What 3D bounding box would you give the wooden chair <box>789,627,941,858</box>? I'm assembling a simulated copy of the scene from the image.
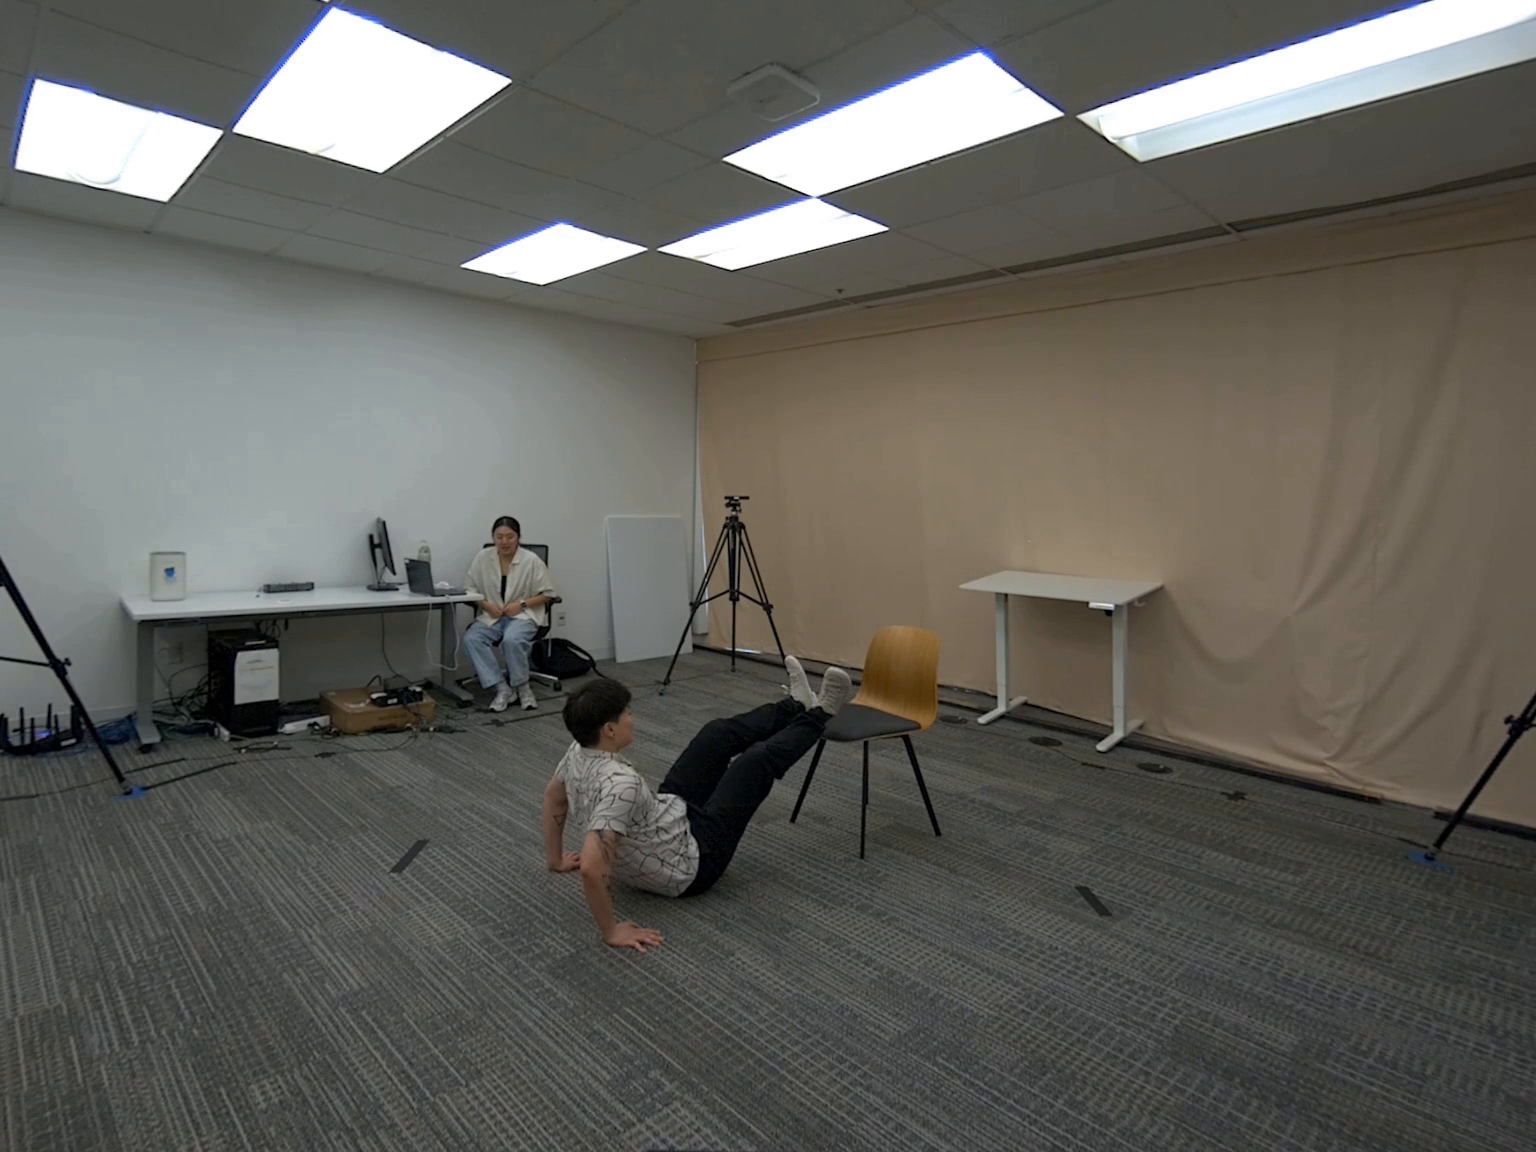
[{"bbox_3d":[0.408,0.649,3.547,0.510,0.877,0.490,5,1,-36],"label":"wooden chair"}]
